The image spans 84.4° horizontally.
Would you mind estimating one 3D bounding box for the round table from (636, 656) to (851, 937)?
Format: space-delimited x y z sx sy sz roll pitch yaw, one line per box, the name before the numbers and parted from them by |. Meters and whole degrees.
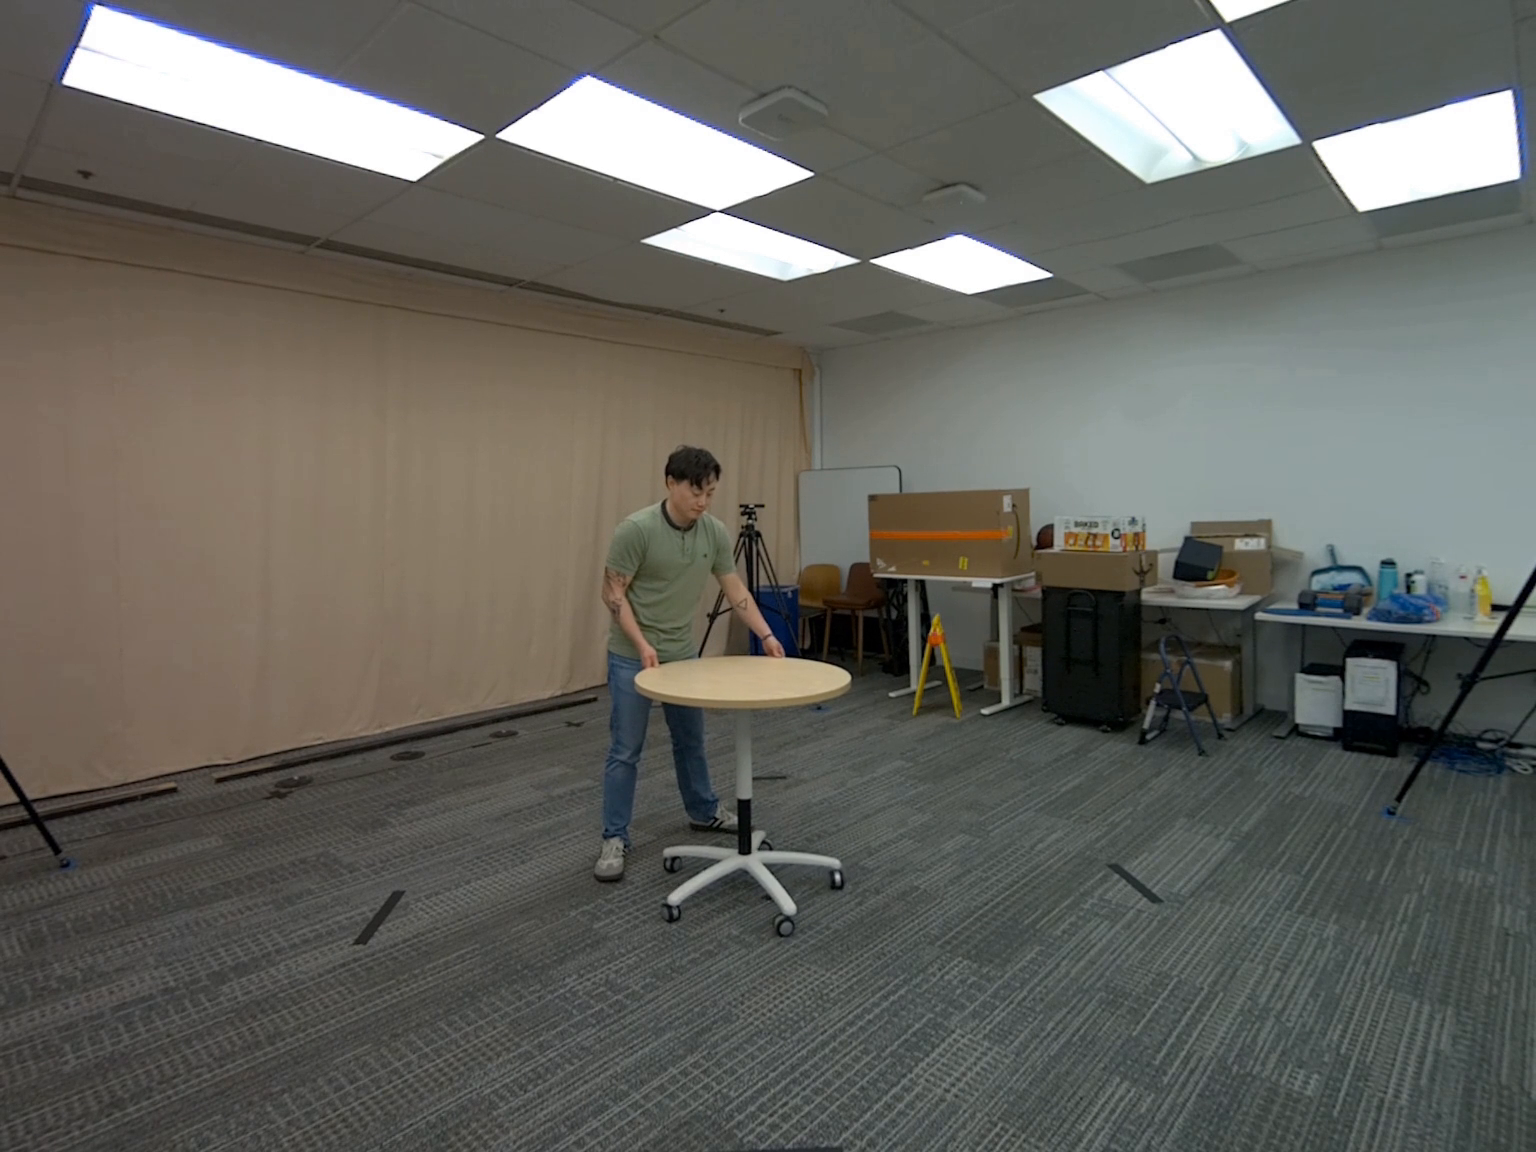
round table | -0.077 0.749 3.016 0.763 0.792 0.766 -1 4 -2
